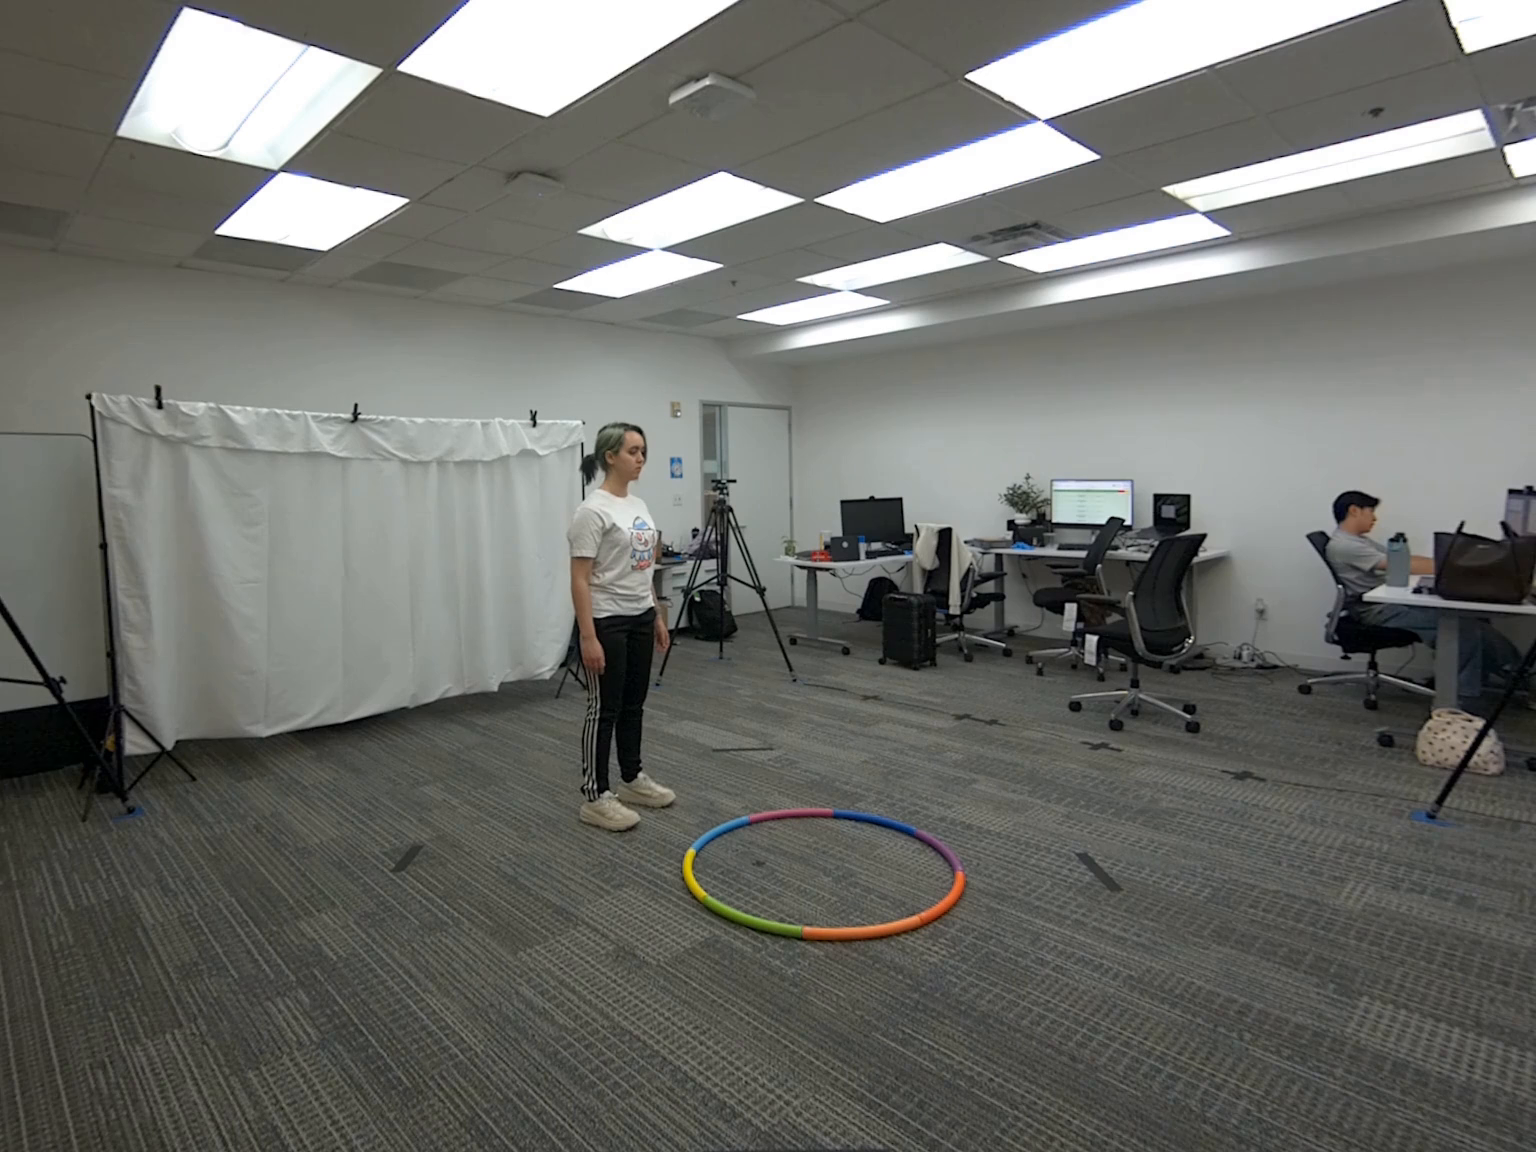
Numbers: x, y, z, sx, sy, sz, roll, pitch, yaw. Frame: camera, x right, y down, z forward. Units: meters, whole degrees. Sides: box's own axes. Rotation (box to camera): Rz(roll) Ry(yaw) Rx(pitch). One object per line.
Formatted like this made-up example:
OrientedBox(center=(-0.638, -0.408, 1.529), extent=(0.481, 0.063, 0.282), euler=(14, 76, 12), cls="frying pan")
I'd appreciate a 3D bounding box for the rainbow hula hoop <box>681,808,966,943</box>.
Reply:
OrientedBox(center=(0.185, 1.019, 3.059), extent=(0.978, 0.035, 0.984), euler=(-2, 7, -2), cls="rainbow hula hoop")
